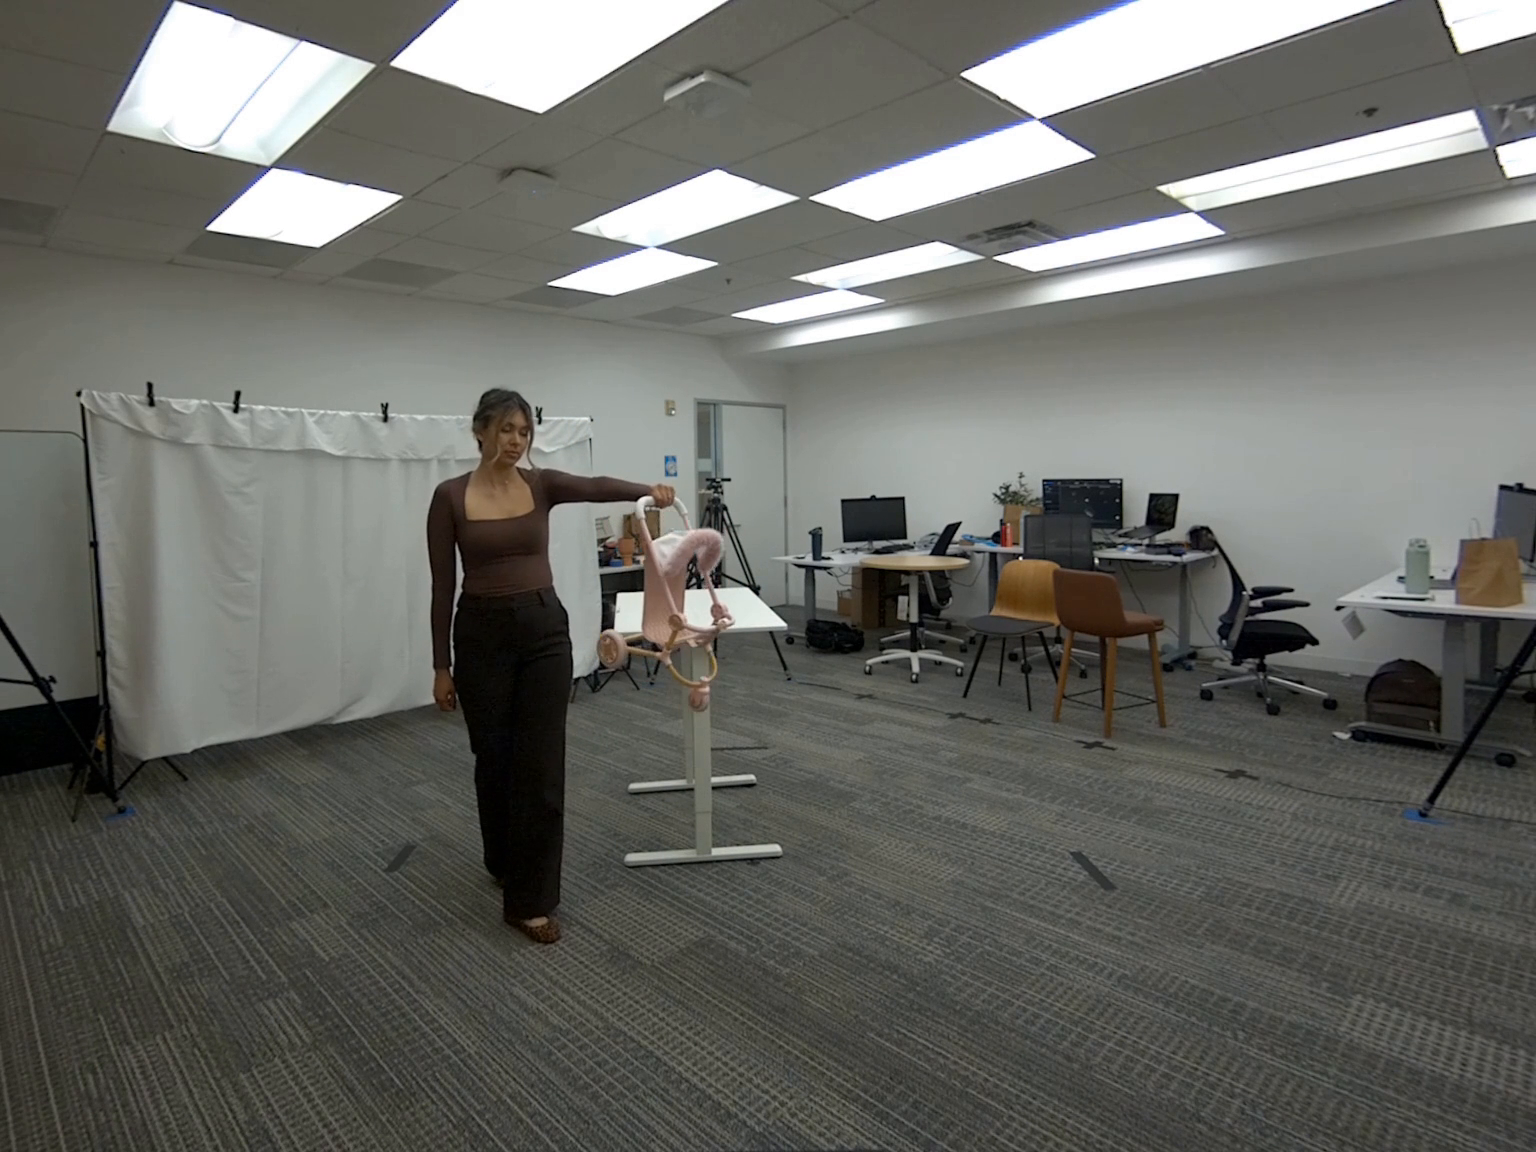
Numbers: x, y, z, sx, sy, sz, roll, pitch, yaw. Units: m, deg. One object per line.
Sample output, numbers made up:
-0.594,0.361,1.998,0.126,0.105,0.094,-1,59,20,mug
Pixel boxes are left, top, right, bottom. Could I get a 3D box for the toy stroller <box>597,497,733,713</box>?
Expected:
-0.249,0.082,2.387,0.354,0.530,0.274,23,16,36,toy stroller
